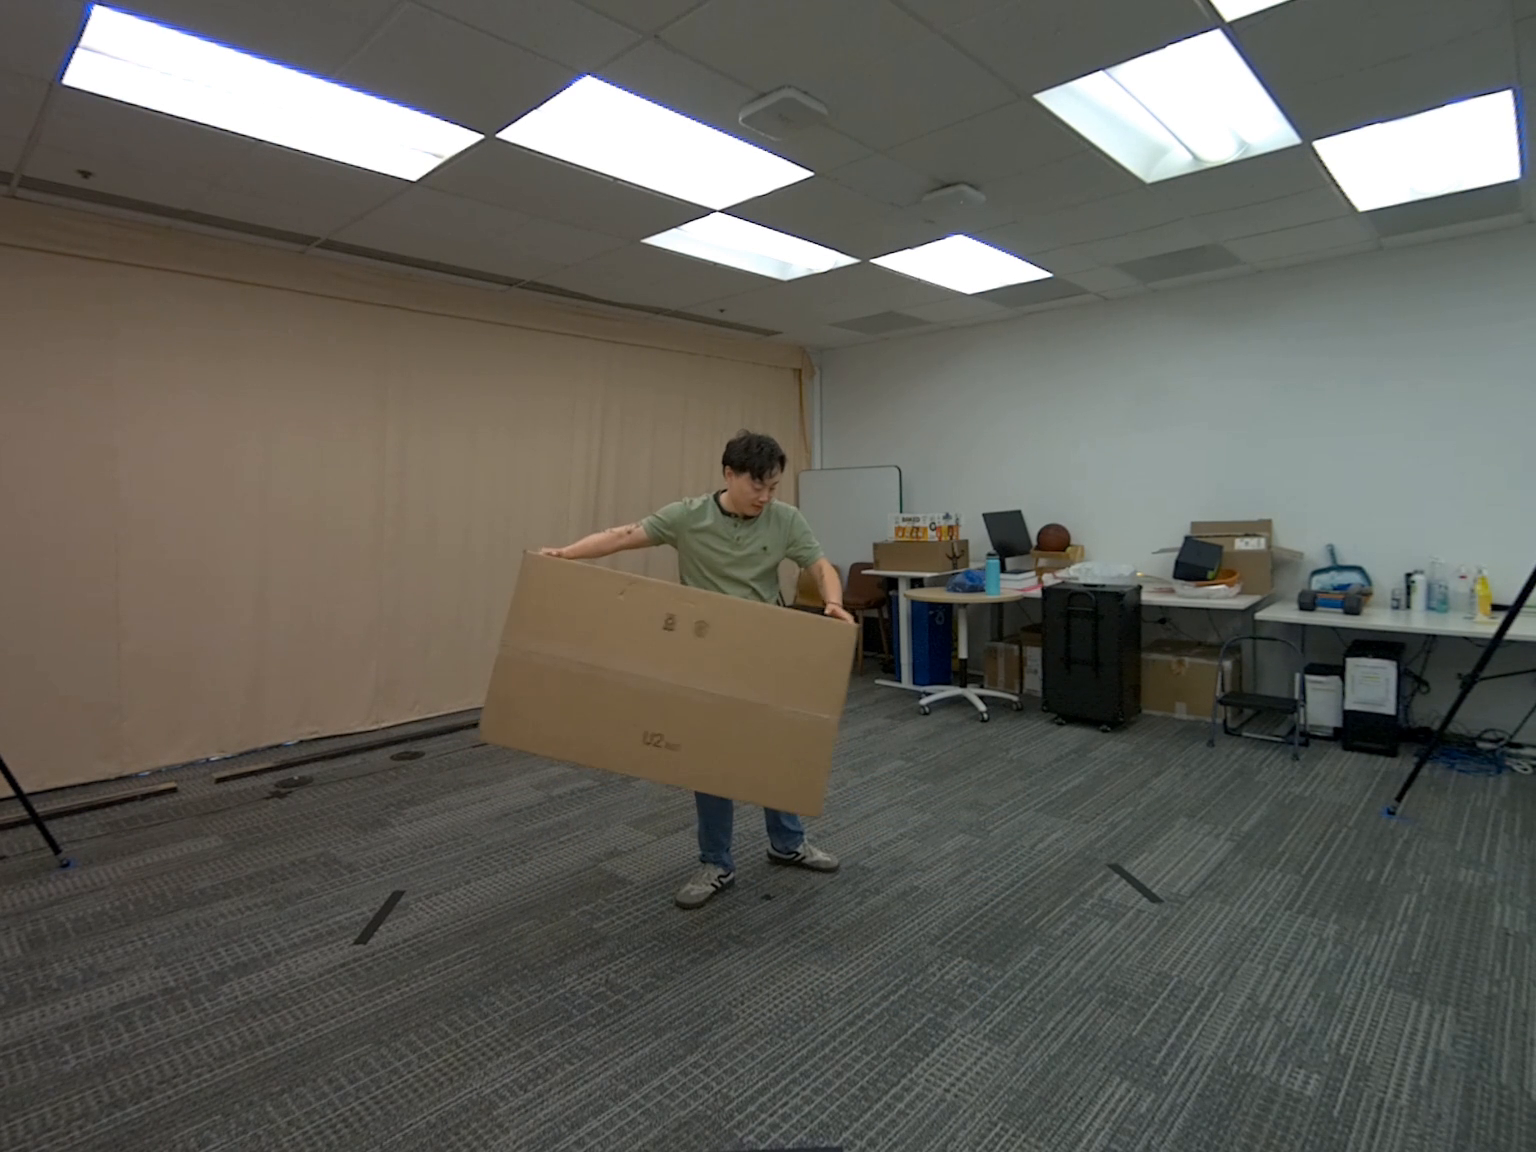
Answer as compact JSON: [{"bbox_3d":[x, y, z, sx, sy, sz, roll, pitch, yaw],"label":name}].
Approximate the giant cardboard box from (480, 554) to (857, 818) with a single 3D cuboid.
[{"bbox_3d":[-0.291,0.329,2.676,1.028,0.579,0.424,12,-8,1],"label":"giant cardboard box"}]
